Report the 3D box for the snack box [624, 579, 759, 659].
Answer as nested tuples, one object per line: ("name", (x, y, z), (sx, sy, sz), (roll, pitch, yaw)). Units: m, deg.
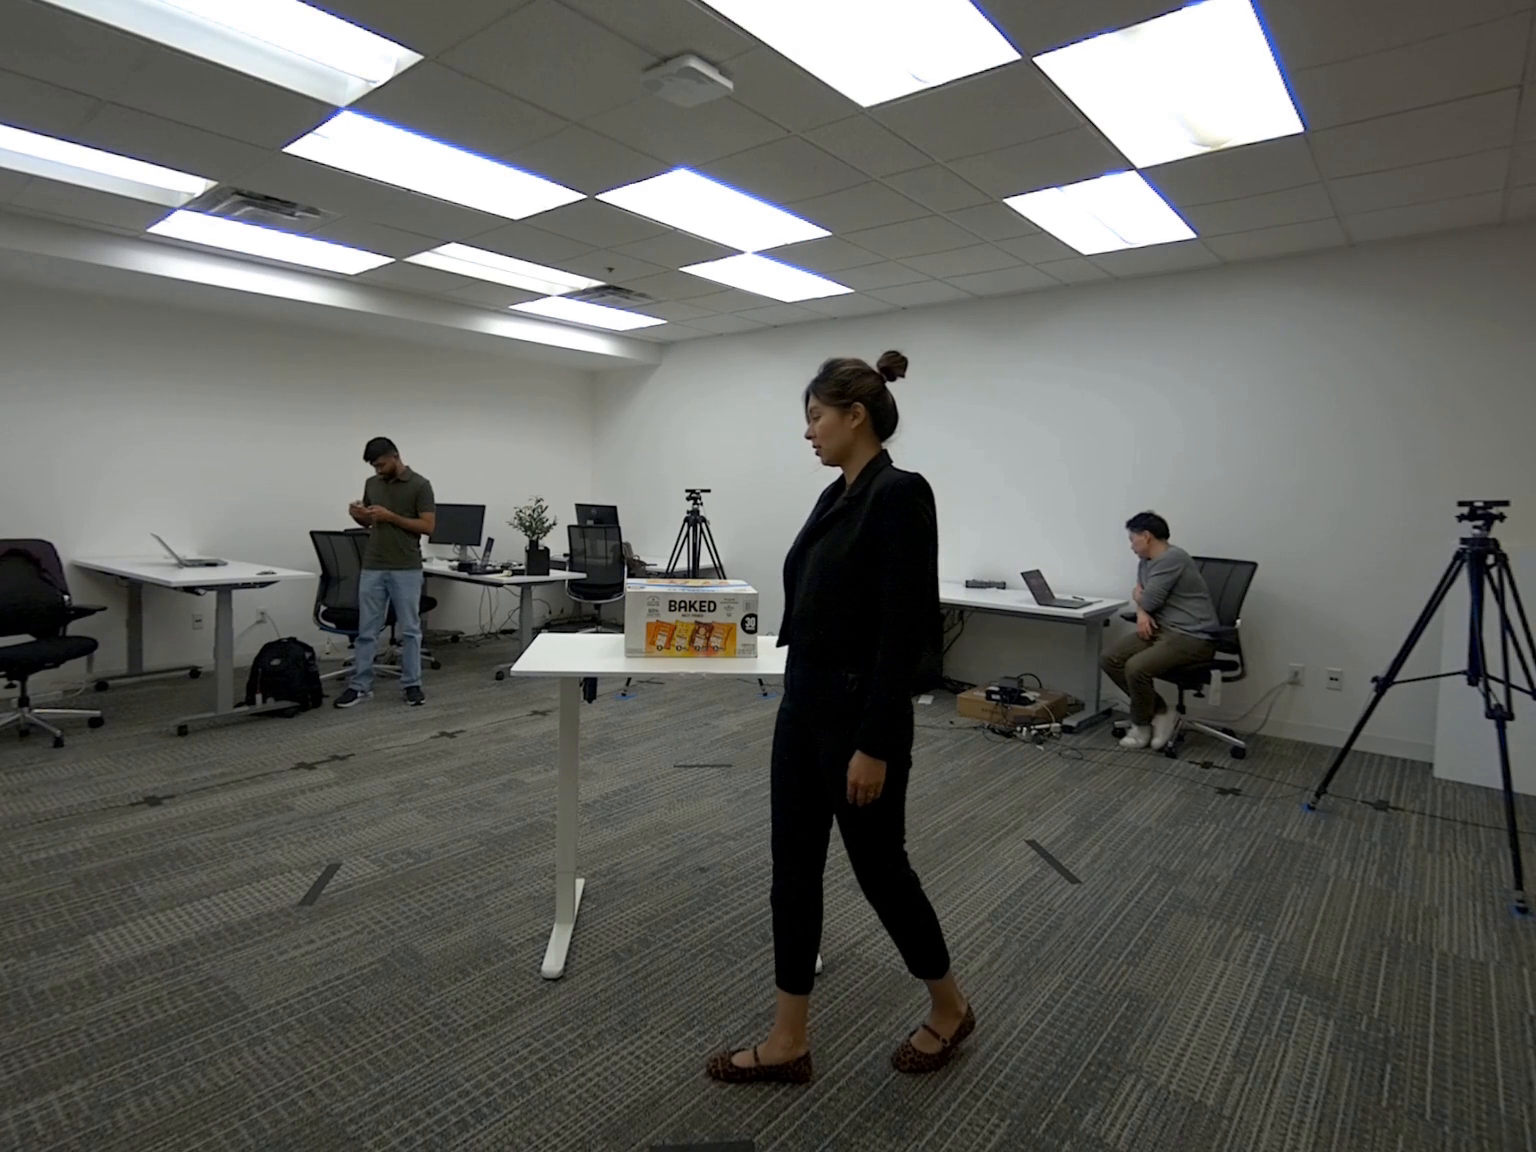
("snack box", (-0.263, 0.126, 2.734), (0.402, 0.205, 0.344), (1, 5, -8))
